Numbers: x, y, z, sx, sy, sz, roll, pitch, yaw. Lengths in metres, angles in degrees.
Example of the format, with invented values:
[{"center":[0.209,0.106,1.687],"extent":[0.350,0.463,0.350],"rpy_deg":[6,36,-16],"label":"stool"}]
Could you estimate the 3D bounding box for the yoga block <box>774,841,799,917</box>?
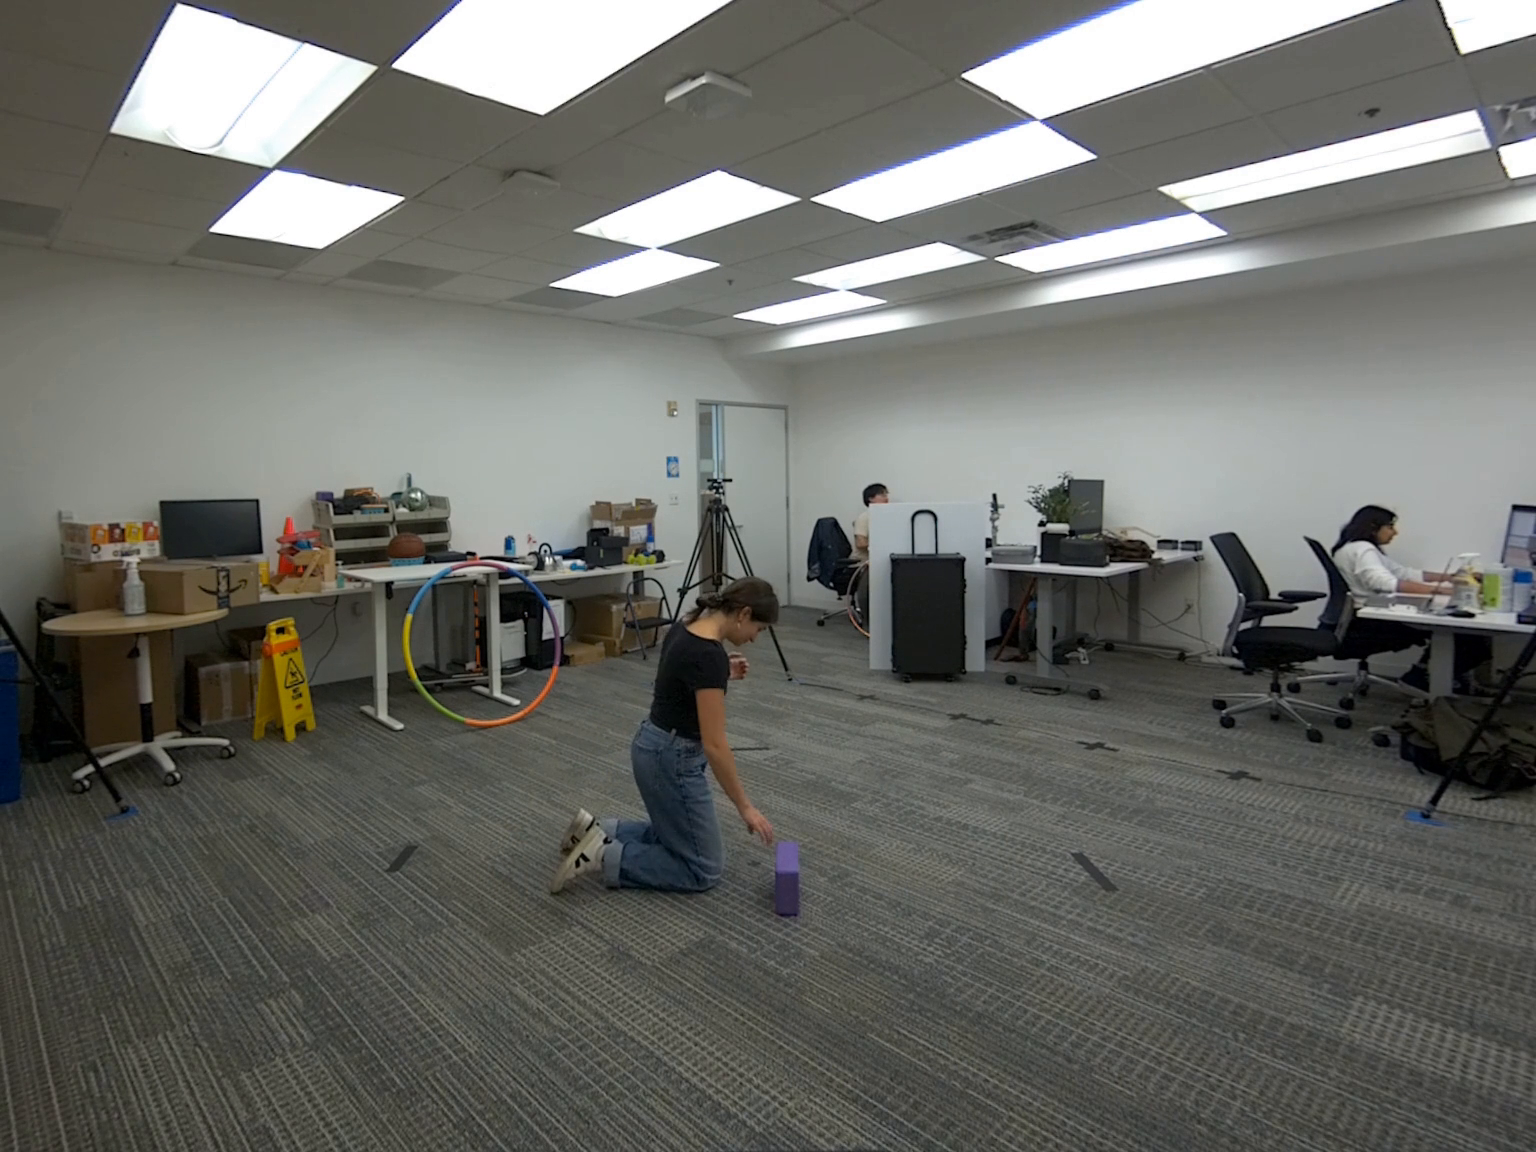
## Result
[{"center":[0.063,0.998,2.835],"extent":[0.076,0.148,0.230],"rpy_deg":[-1,5,1],"label":"yoga block"}]
